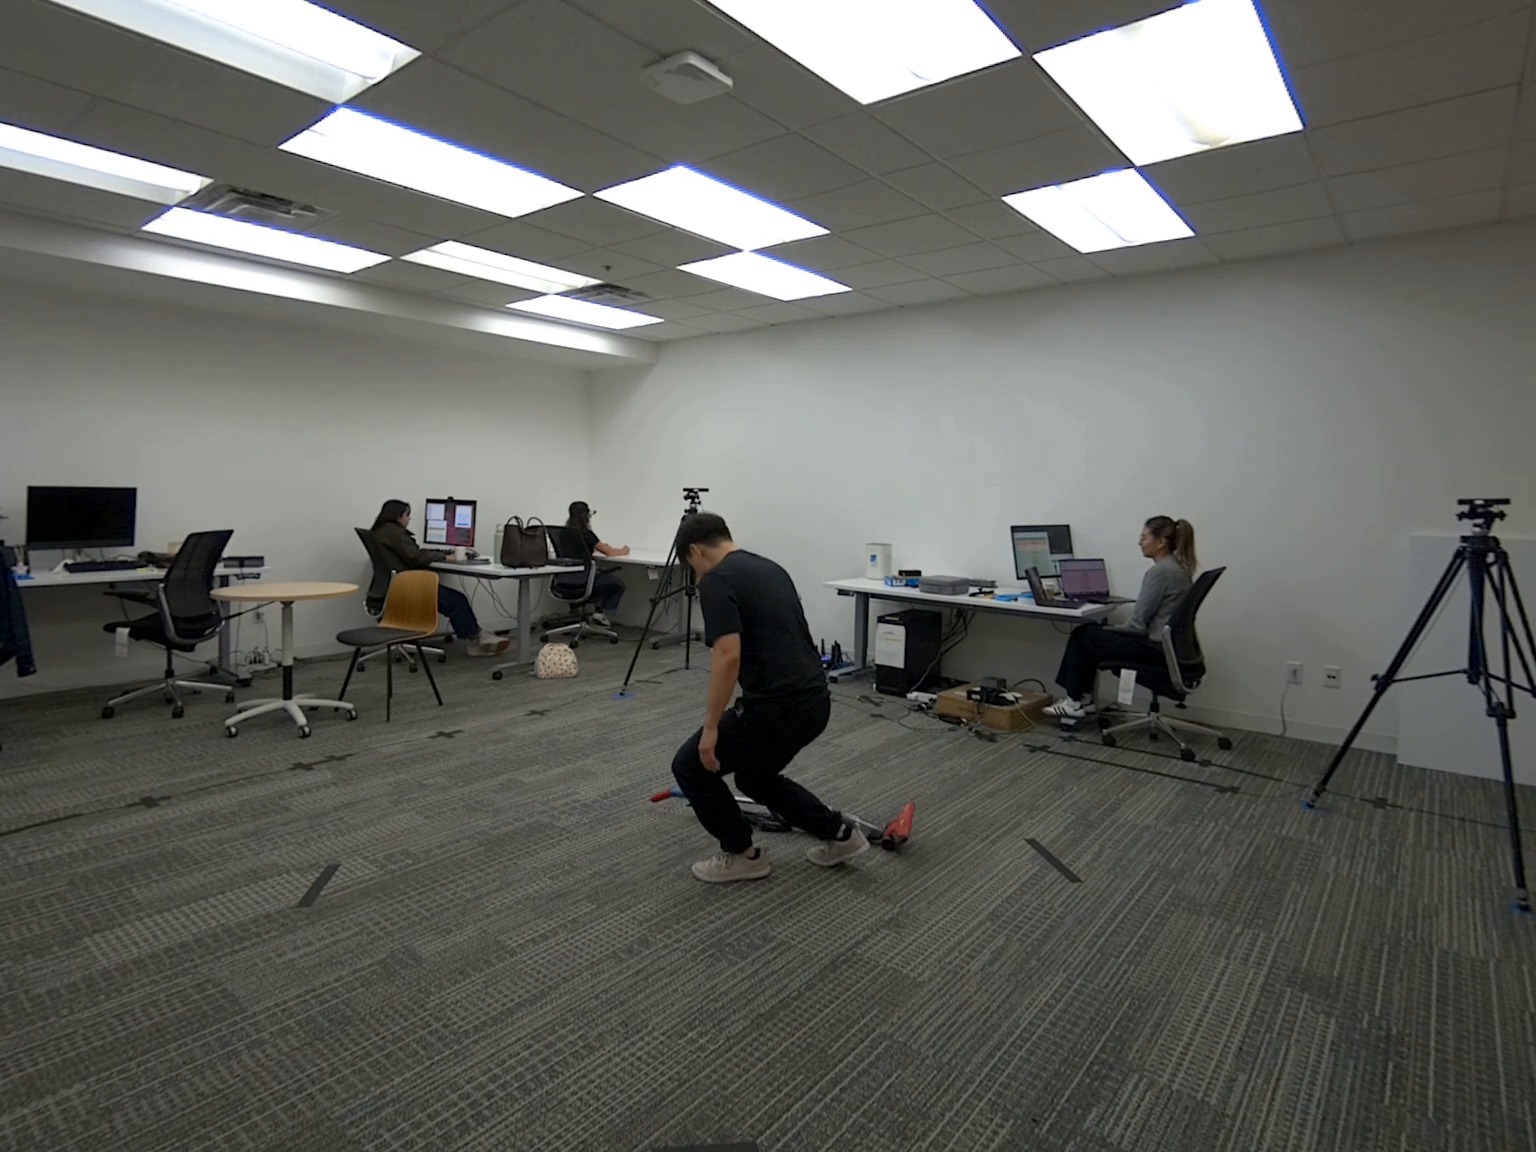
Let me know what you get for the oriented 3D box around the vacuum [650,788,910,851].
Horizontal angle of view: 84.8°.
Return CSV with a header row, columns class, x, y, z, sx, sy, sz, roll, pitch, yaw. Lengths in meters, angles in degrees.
class,x,y,z,sx,sy,sz,roll,pitch,yaw
vacuum,0.009,0.979,3.500,1.069,0.142,0.252,1,17,17
